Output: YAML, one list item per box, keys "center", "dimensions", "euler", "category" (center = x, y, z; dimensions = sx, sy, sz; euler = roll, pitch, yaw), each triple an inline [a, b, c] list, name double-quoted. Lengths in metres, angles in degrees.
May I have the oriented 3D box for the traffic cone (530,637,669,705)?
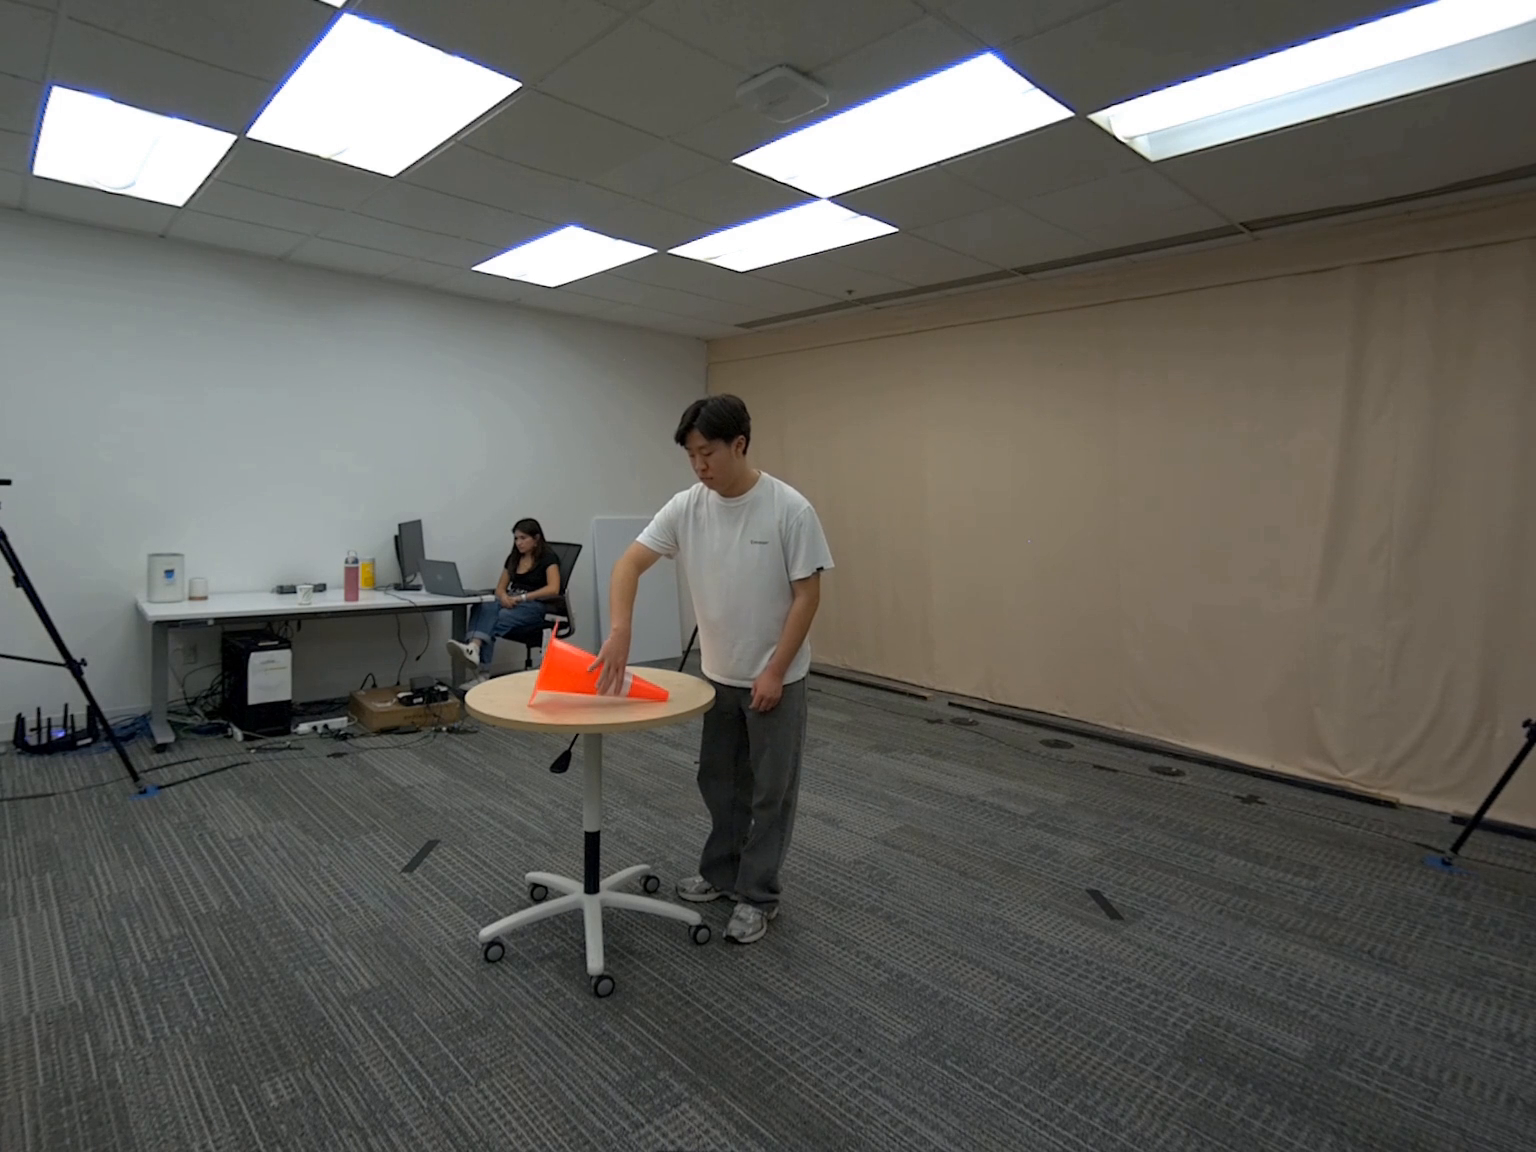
- center: [-0.480, 0.319, 2.463]
  dimensions: [0.380, 0.203, 0.207]
  euler: [19, 44, -10]
  category: "traffic cone"
